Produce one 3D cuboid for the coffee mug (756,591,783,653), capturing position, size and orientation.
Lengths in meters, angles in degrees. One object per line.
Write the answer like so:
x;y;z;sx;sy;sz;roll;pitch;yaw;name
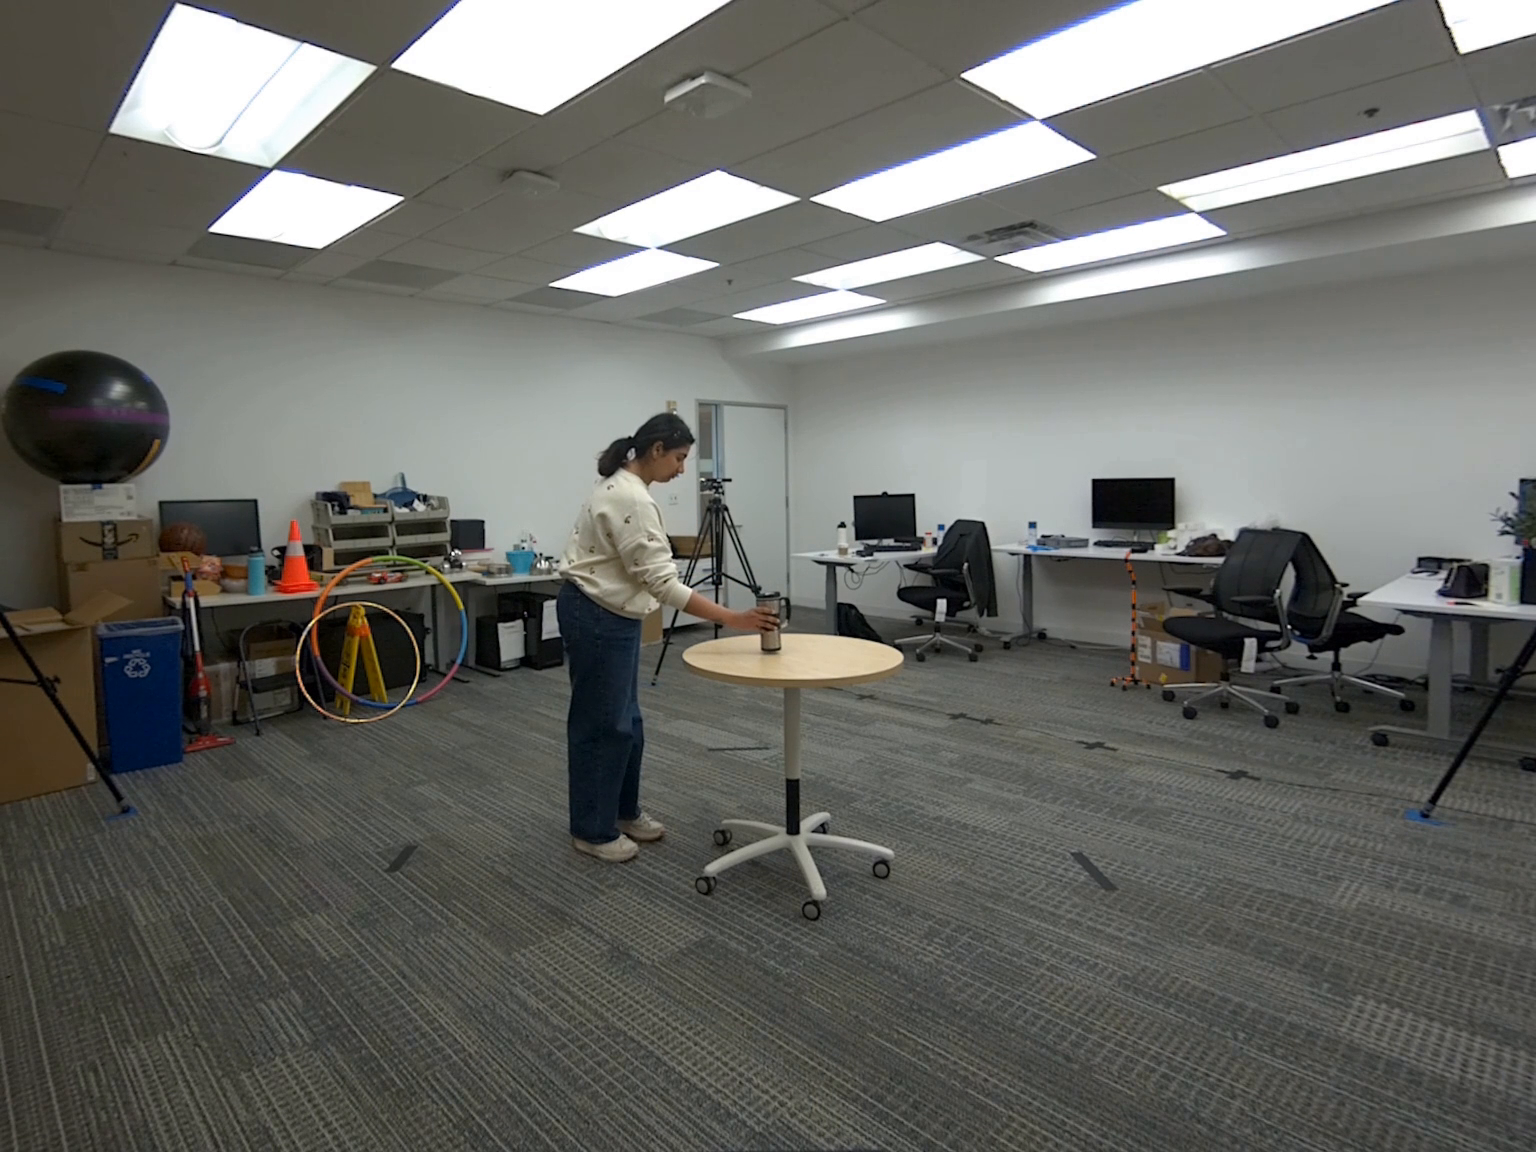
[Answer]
-0.012;0.162;2.995;0.122;0.201;0.089;0;9;-2;coffee mug
